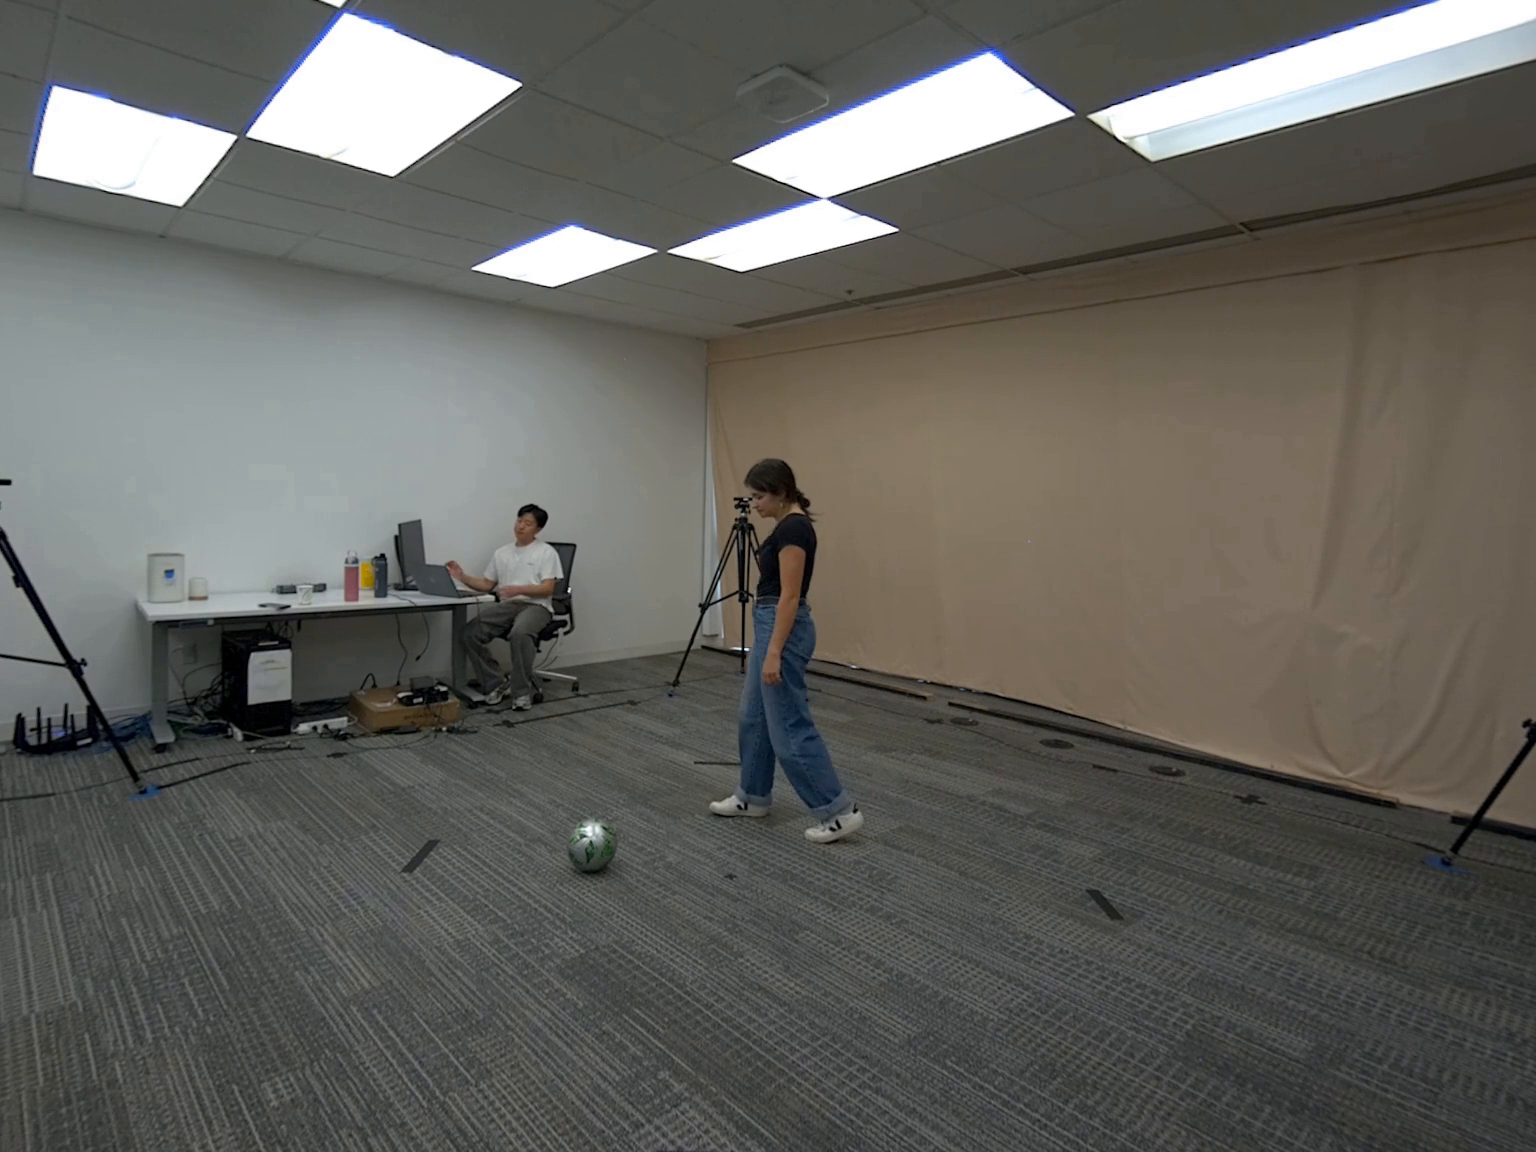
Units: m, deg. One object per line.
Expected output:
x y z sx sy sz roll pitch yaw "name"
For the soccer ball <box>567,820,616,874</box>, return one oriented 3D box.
-0.669 1.005 3.118 0.187 0.187 0.188 1 4 -1 "soccer ball"
